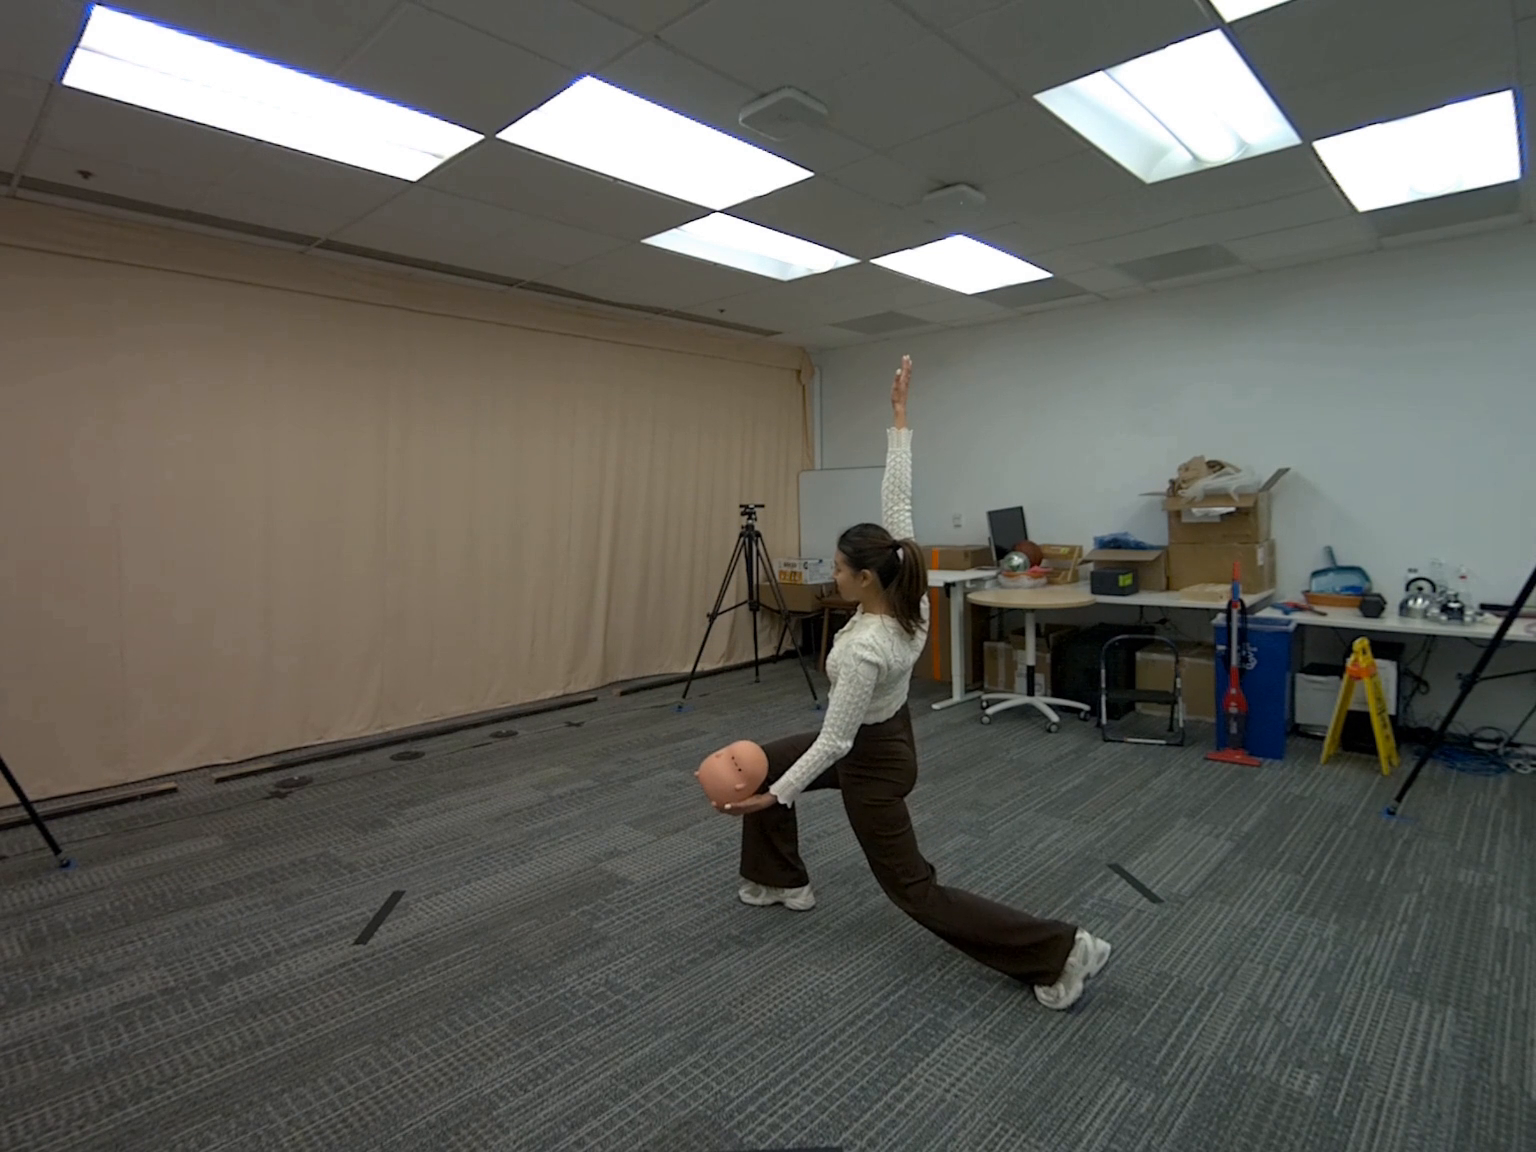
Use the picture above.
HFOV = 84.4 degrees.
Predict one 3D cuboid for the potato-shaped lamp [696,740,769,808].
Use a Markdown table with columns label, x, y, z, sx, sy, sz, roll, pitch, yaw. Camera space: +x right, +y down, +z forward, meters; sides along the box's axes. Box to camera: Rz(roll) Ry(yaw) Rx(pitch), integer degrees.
| label | x | y | z | sx | sy | sz | roll | pitch | yaw |
| --- | --- | --- | --- | --- | --- | --- | --- | --- | --- |
| potato-shaped lamp | -0.093 | 0.577 | 2.476 | 0.199 | 0.169 | 0.166 | -45 | -29 | 17 |
